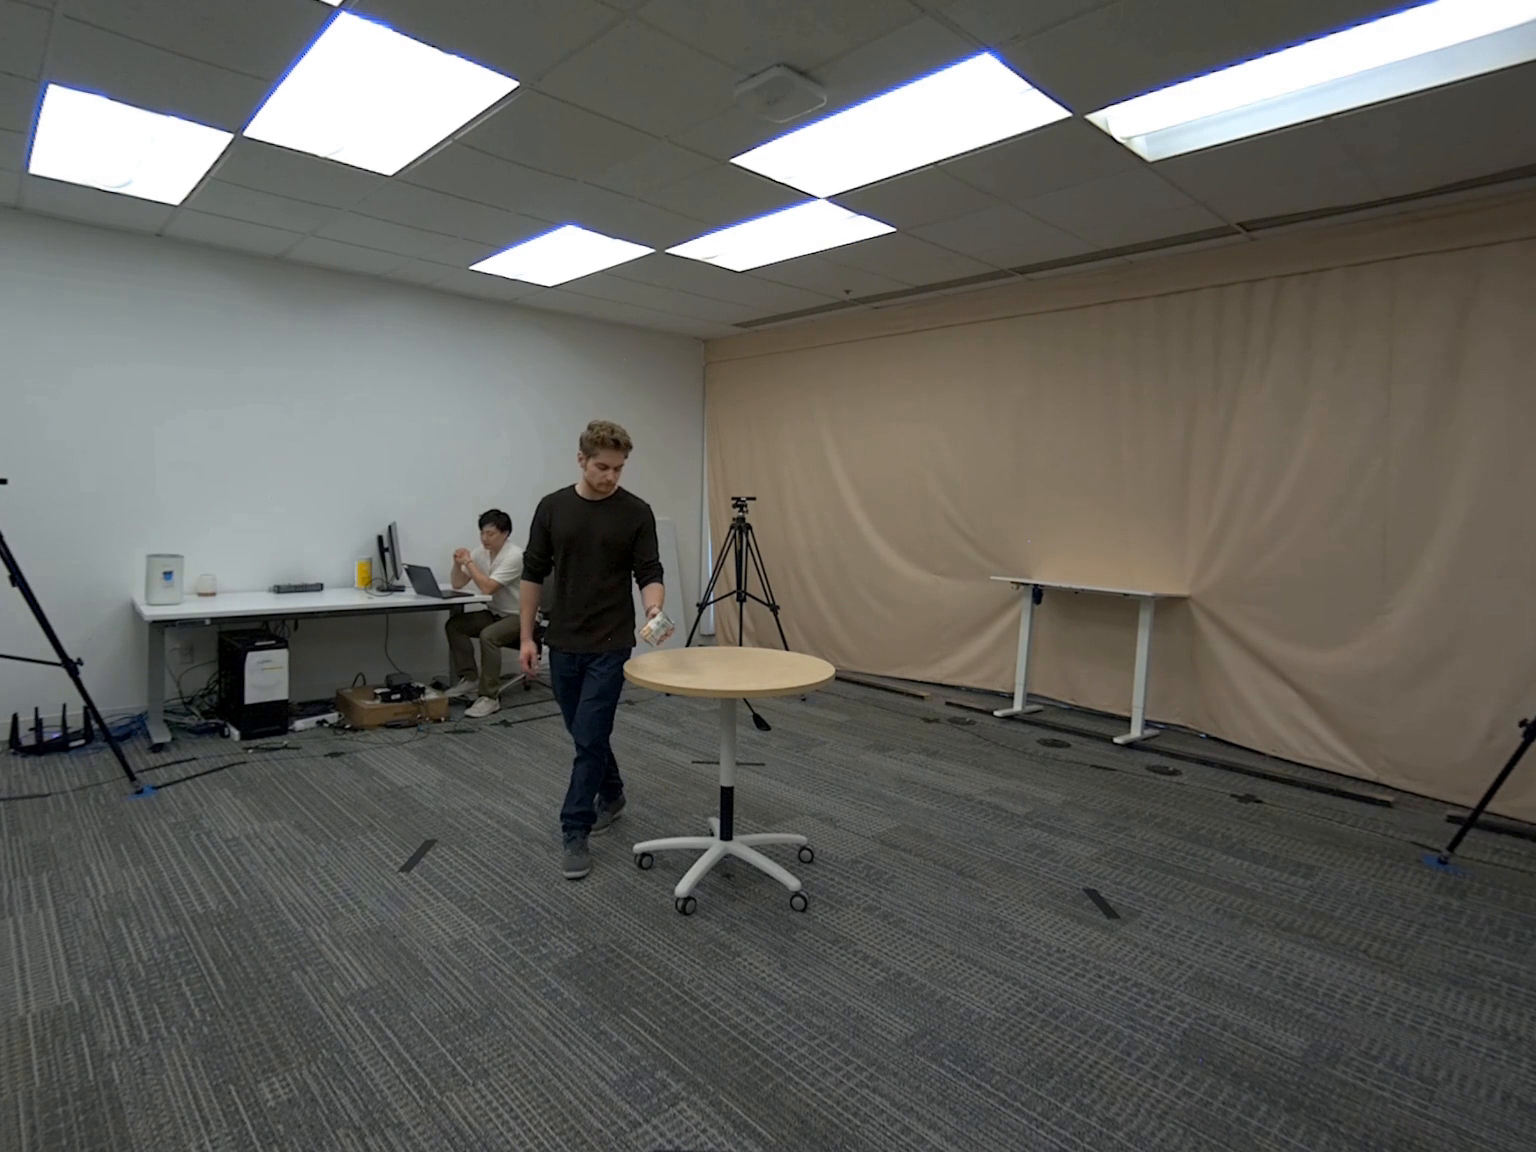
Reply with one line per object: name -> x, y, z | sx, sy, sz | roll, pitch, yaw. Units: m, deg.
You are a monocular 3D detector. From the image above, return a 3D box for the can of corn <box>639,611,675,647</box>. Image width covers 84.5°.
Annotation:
can of corn -> -0.395, 0.181, 2.950 | 0.111, 0.074, 0.074 | -43, 0, -2
